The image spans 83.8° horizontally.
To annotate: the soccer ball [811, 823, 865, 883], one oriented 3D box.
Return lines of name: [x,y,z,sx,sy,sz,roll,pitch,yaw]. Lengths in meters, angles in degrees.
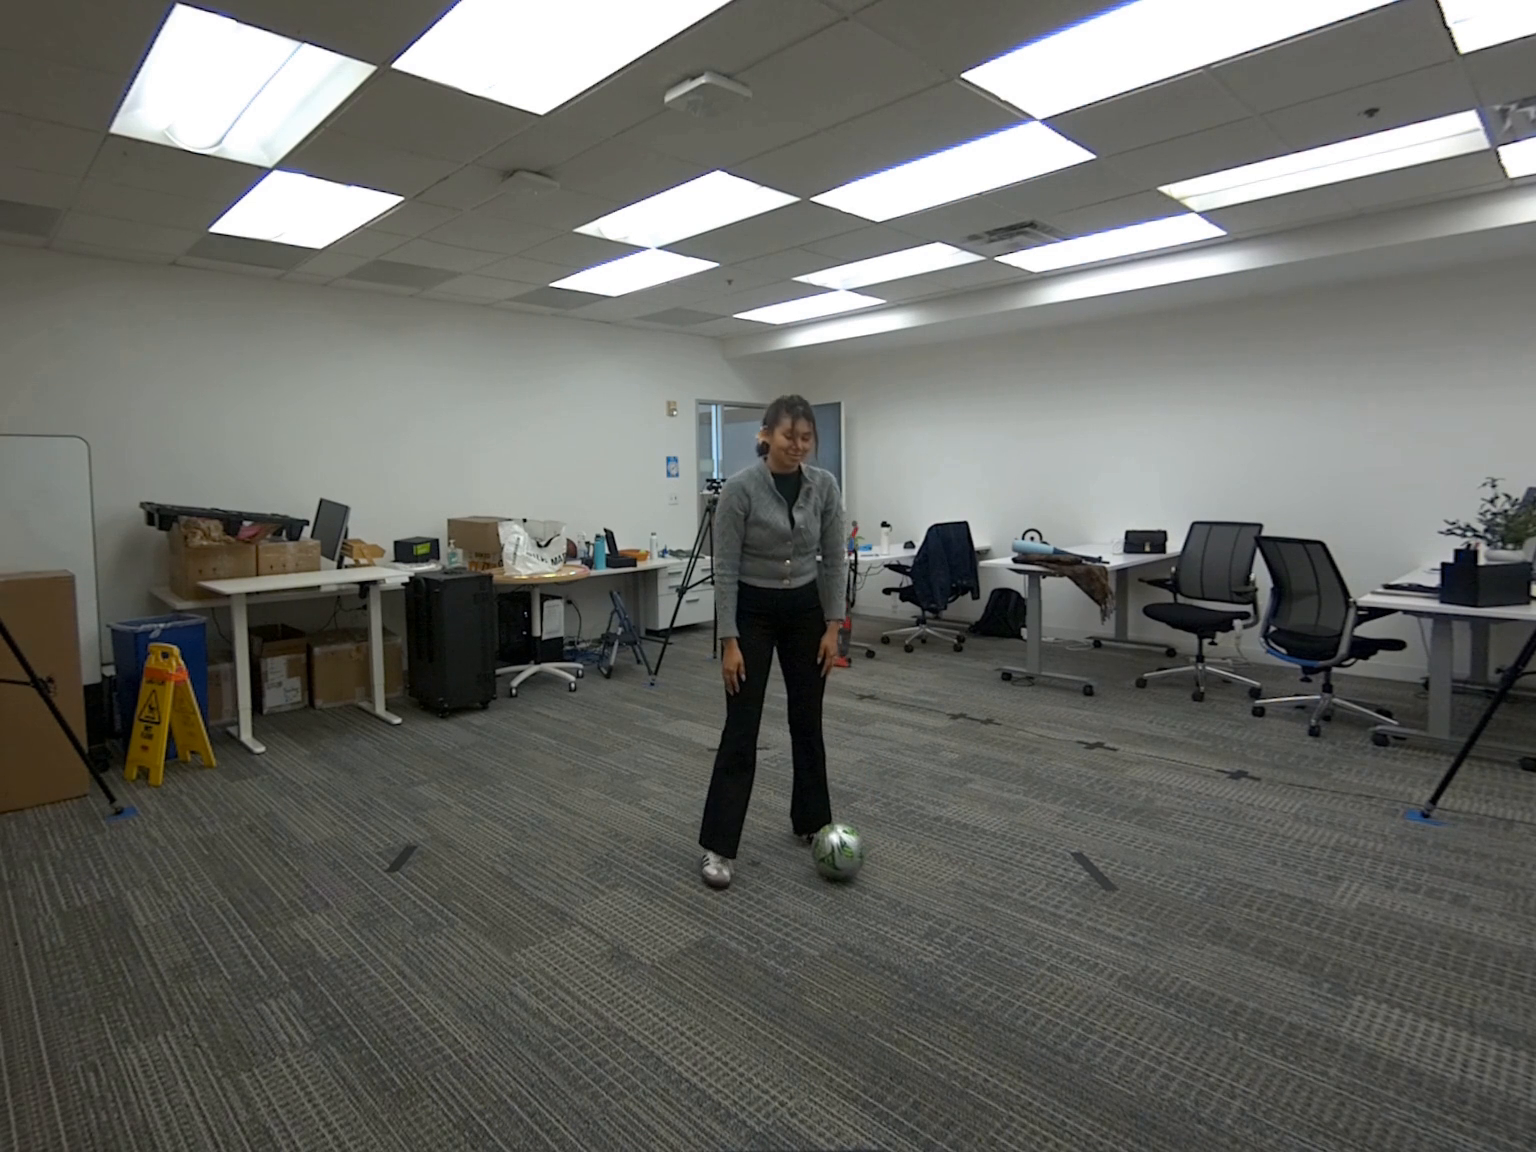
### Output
soccer ball: [0.239,0.956,2.979,0.187,0.187,0.188,-1,5,-2]
